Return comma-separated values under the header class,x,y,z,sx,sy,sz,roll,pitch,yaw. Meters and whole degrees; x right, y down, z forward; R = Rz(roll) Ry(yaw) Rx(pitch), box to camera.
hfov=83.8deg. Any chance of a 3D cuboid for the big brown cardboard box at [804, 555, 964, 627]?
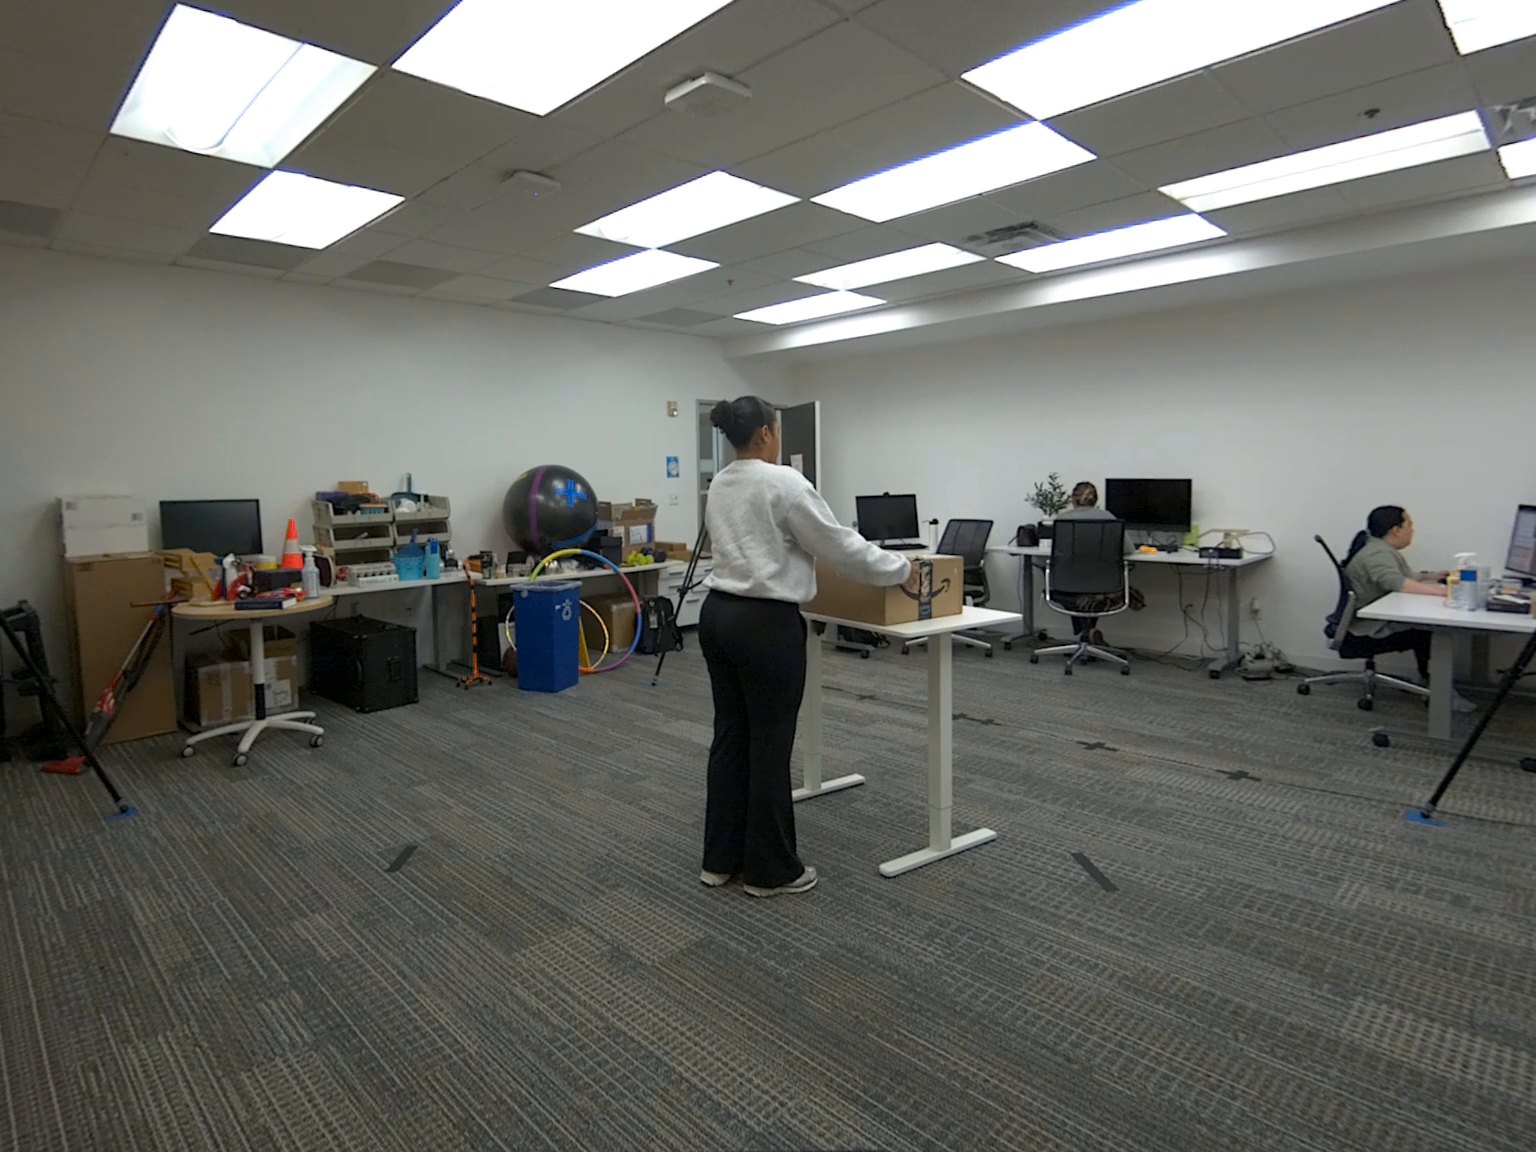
class,x,y,z,sx,sy,sz,roll,pitch,yaw
big brown cardboard box,0.391,0.027,3.282,0.407,0.232,0.606,-6,7,-37
